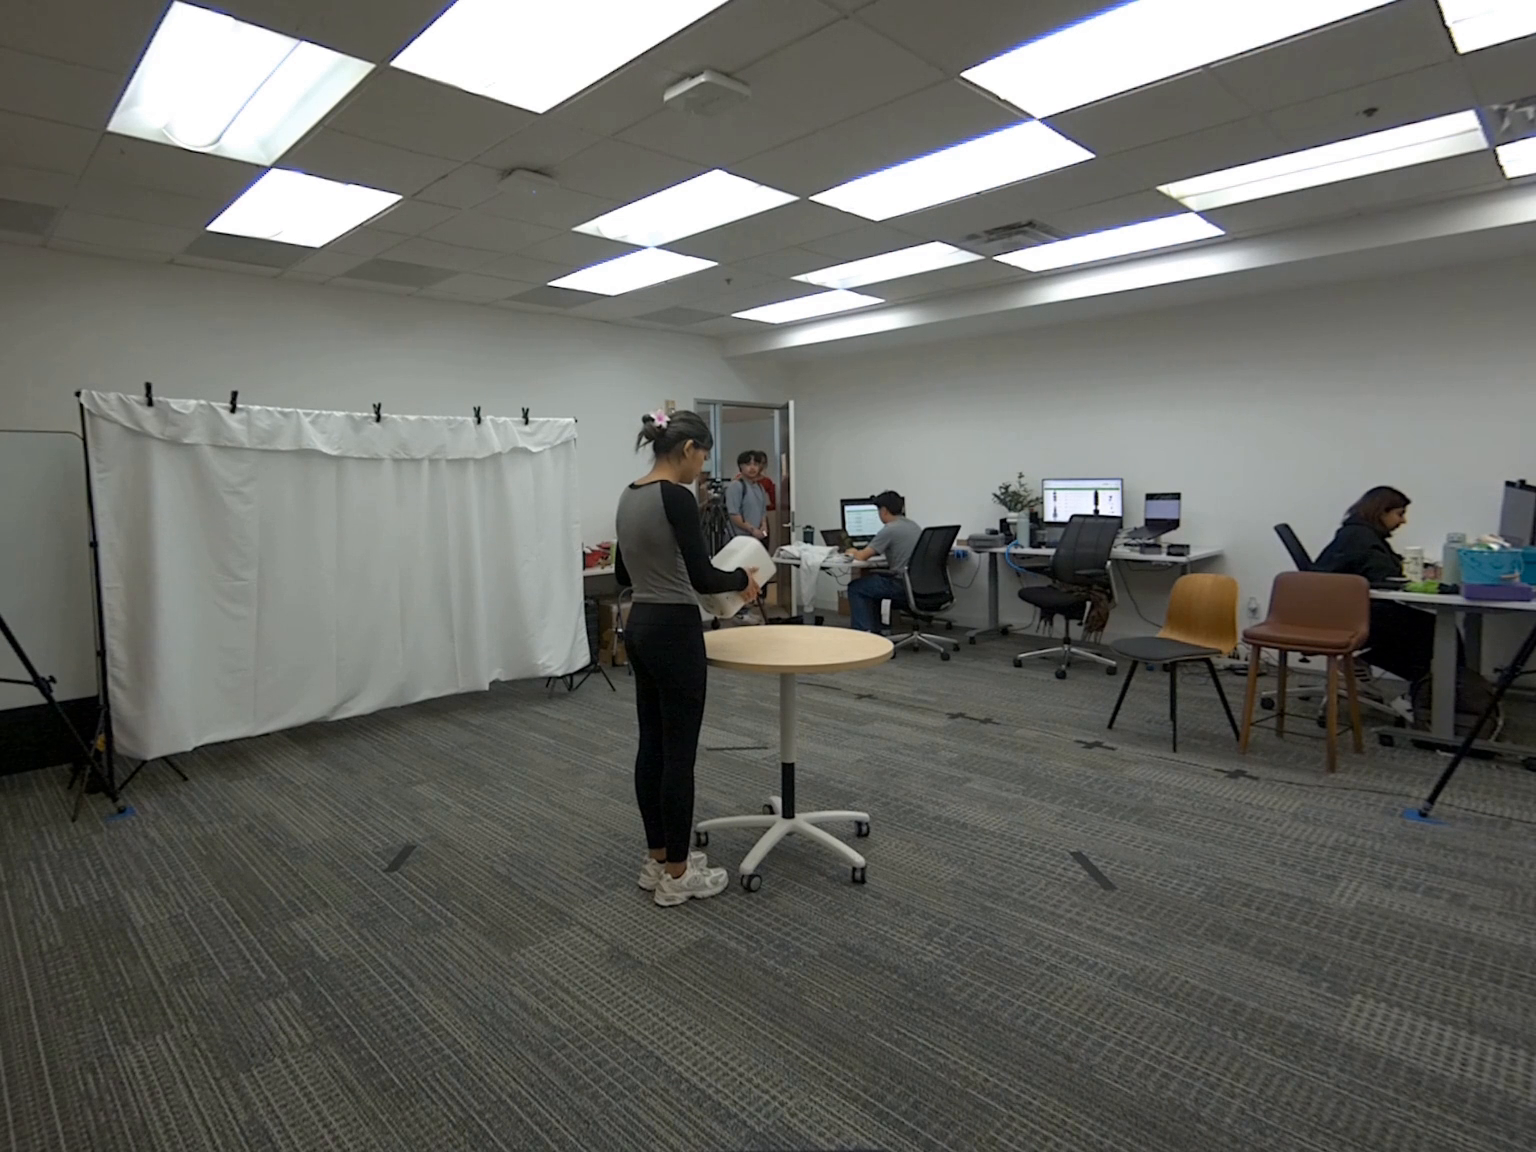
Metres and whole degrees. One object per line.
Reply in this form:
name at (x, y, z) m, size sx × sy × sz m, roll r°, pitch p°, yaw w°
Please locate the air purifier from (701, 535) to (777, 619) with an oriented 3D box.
air purifier at (-0.129, 0.005, 3.038) m, size 0.265 × 0.166 × 0.176 m, roll -43°, pitch 26°, yaw -26°
